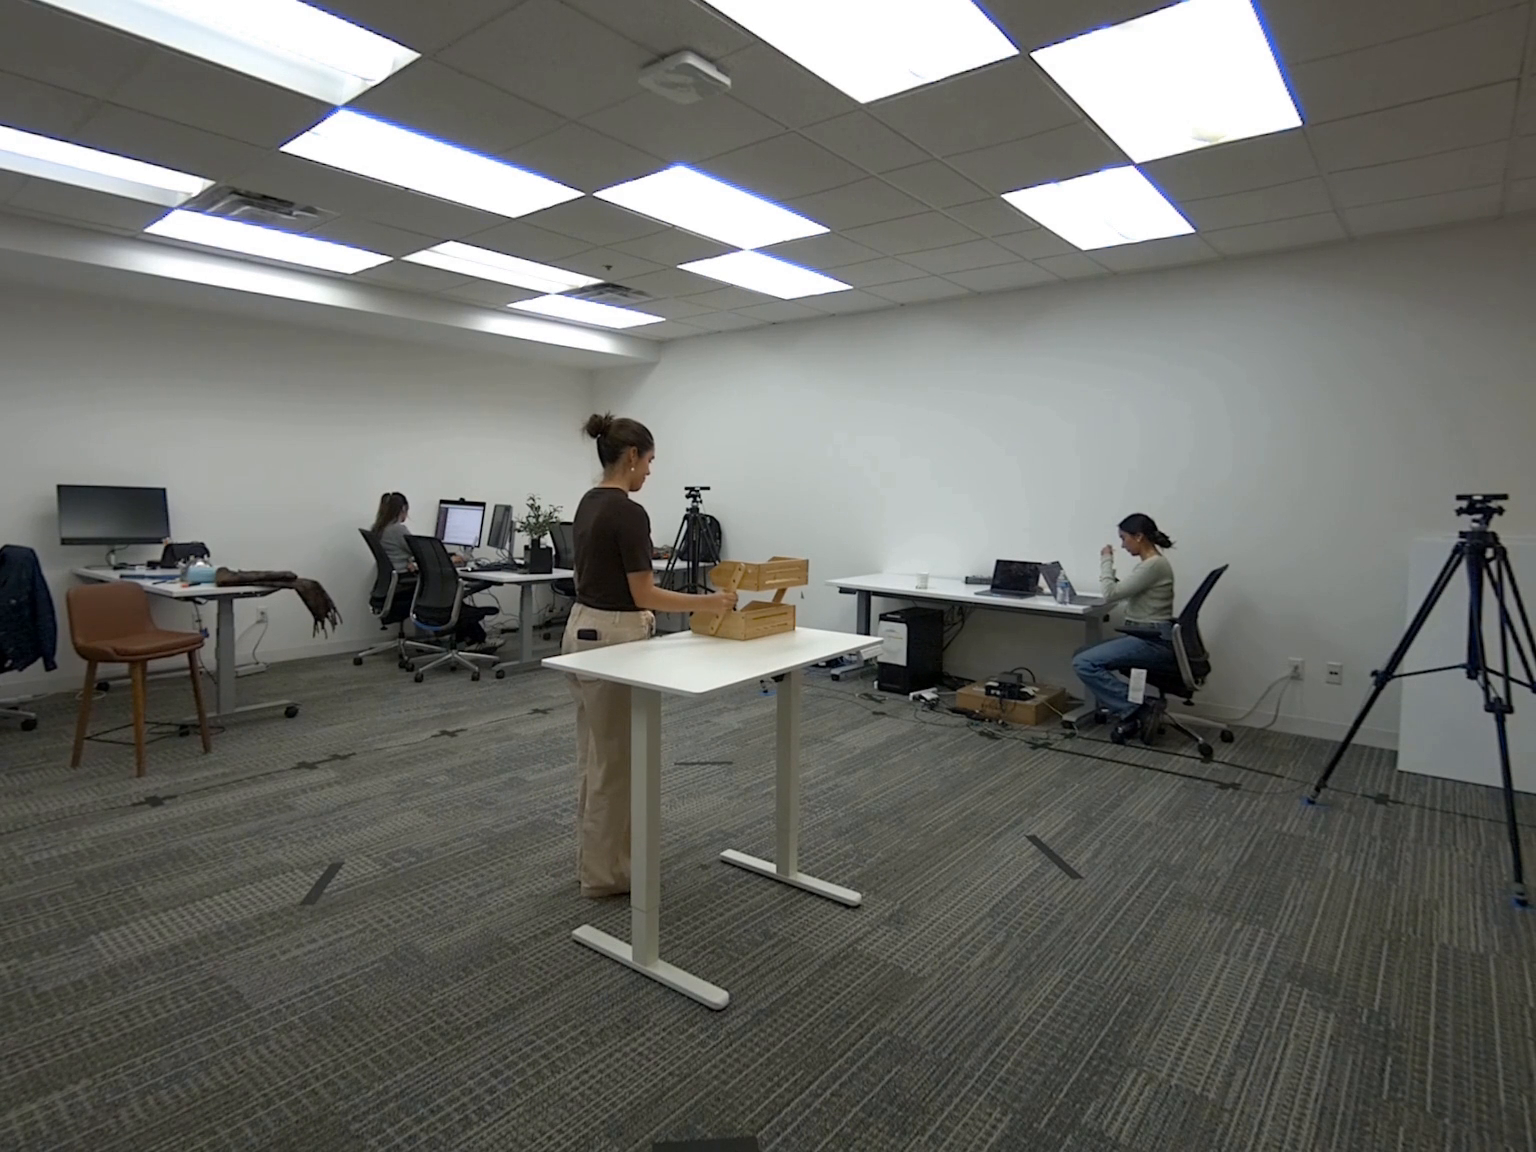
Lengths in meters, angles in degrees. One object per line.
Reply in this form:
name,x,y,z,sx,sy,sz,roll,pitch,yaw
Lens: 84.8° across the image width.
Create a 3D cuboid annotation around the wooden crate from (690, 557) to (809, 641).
wooden crate,-0.078,0.064,2.983,0.312,0.272,0.315,6,6,38
